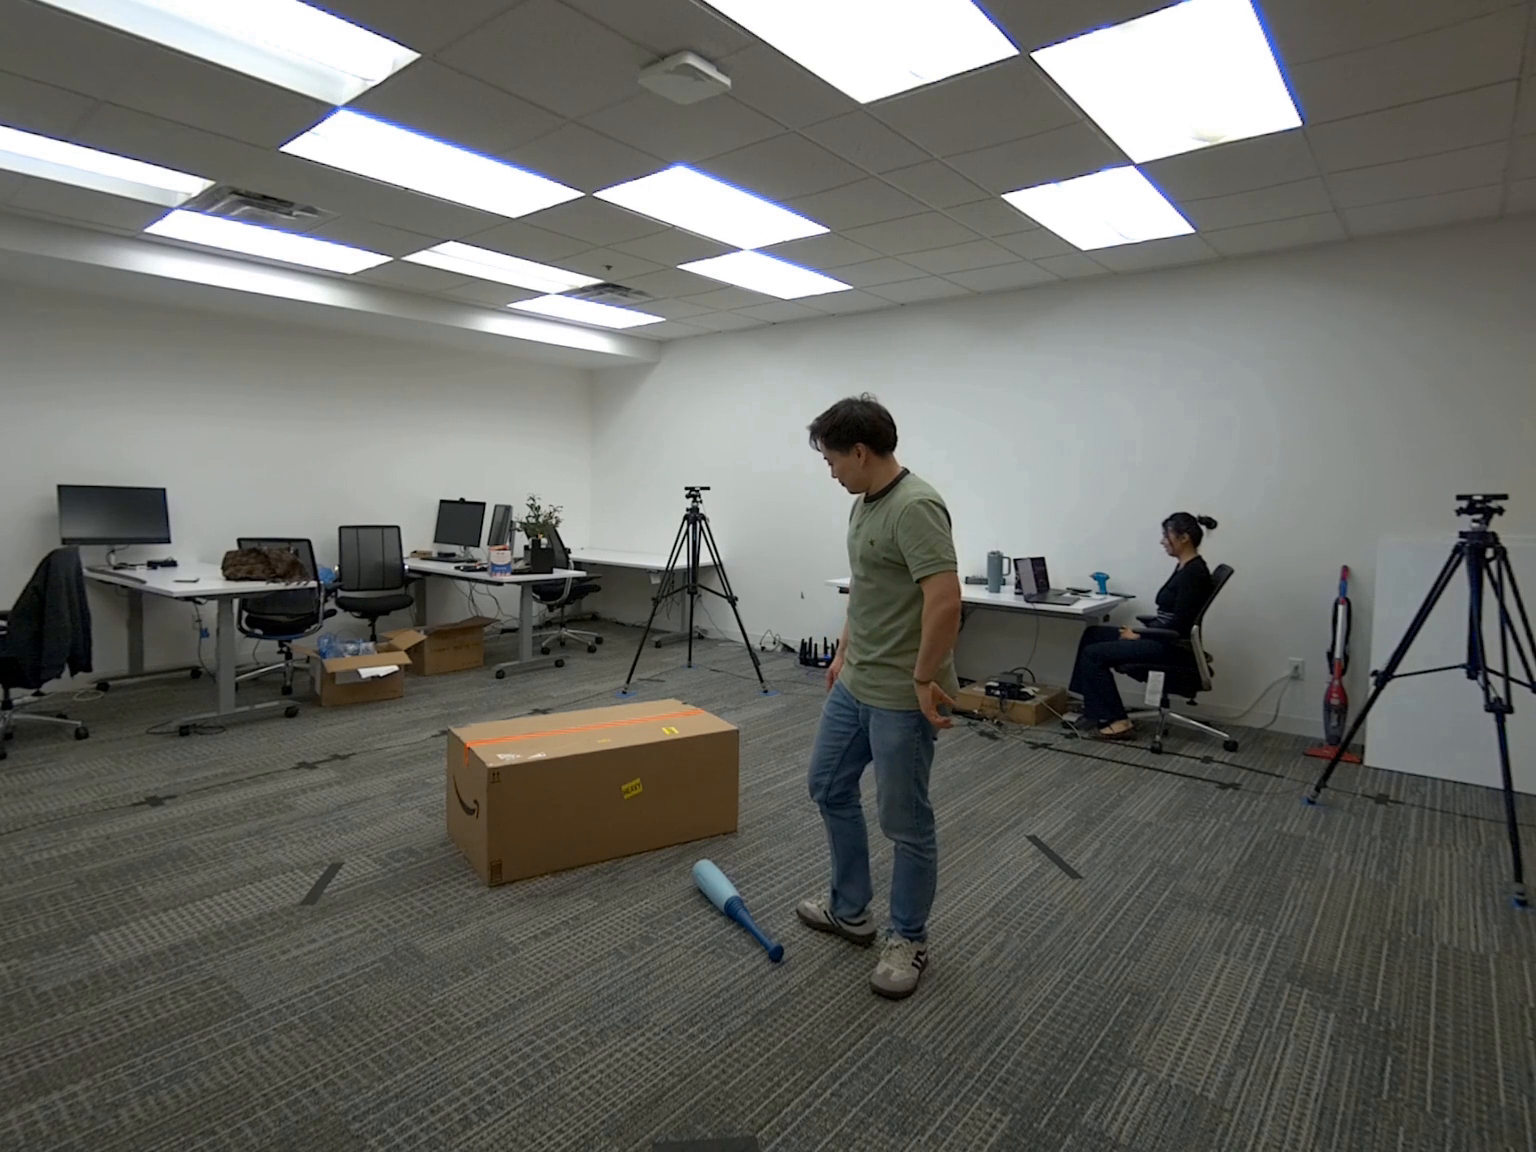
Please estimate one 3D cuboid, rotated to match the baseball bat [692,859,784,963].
[{"bbox_3d":[-0.107,1.067,2.730,0.087,0.088,0.560,-2,9,-29],"label":"baseball bat"}]
